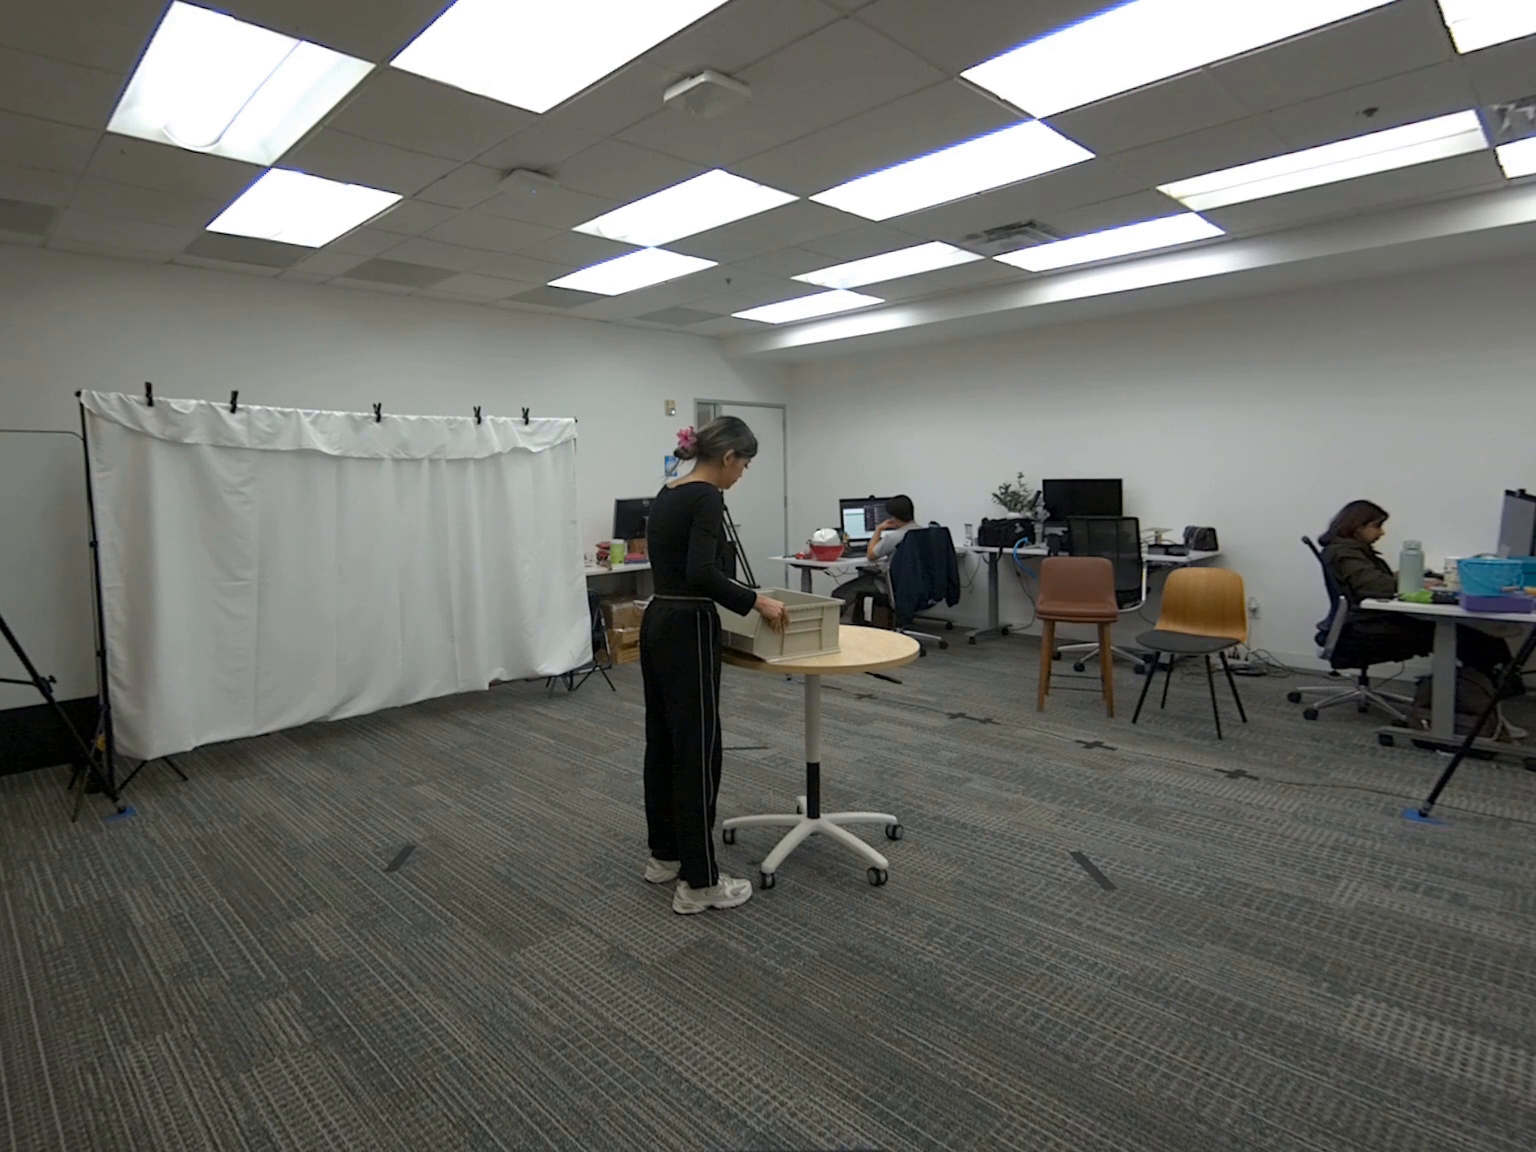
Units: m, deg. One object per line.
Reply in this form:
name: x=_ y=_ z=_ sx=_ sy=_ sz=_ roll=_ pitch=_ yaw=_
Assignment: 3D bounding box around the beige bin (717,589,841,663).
beige bin: x=-0.008 y=0.160 z=3.016 sx=0.368 sy=0.188 sz=0.434 roll=-1 pitch=5 yaw=-32
